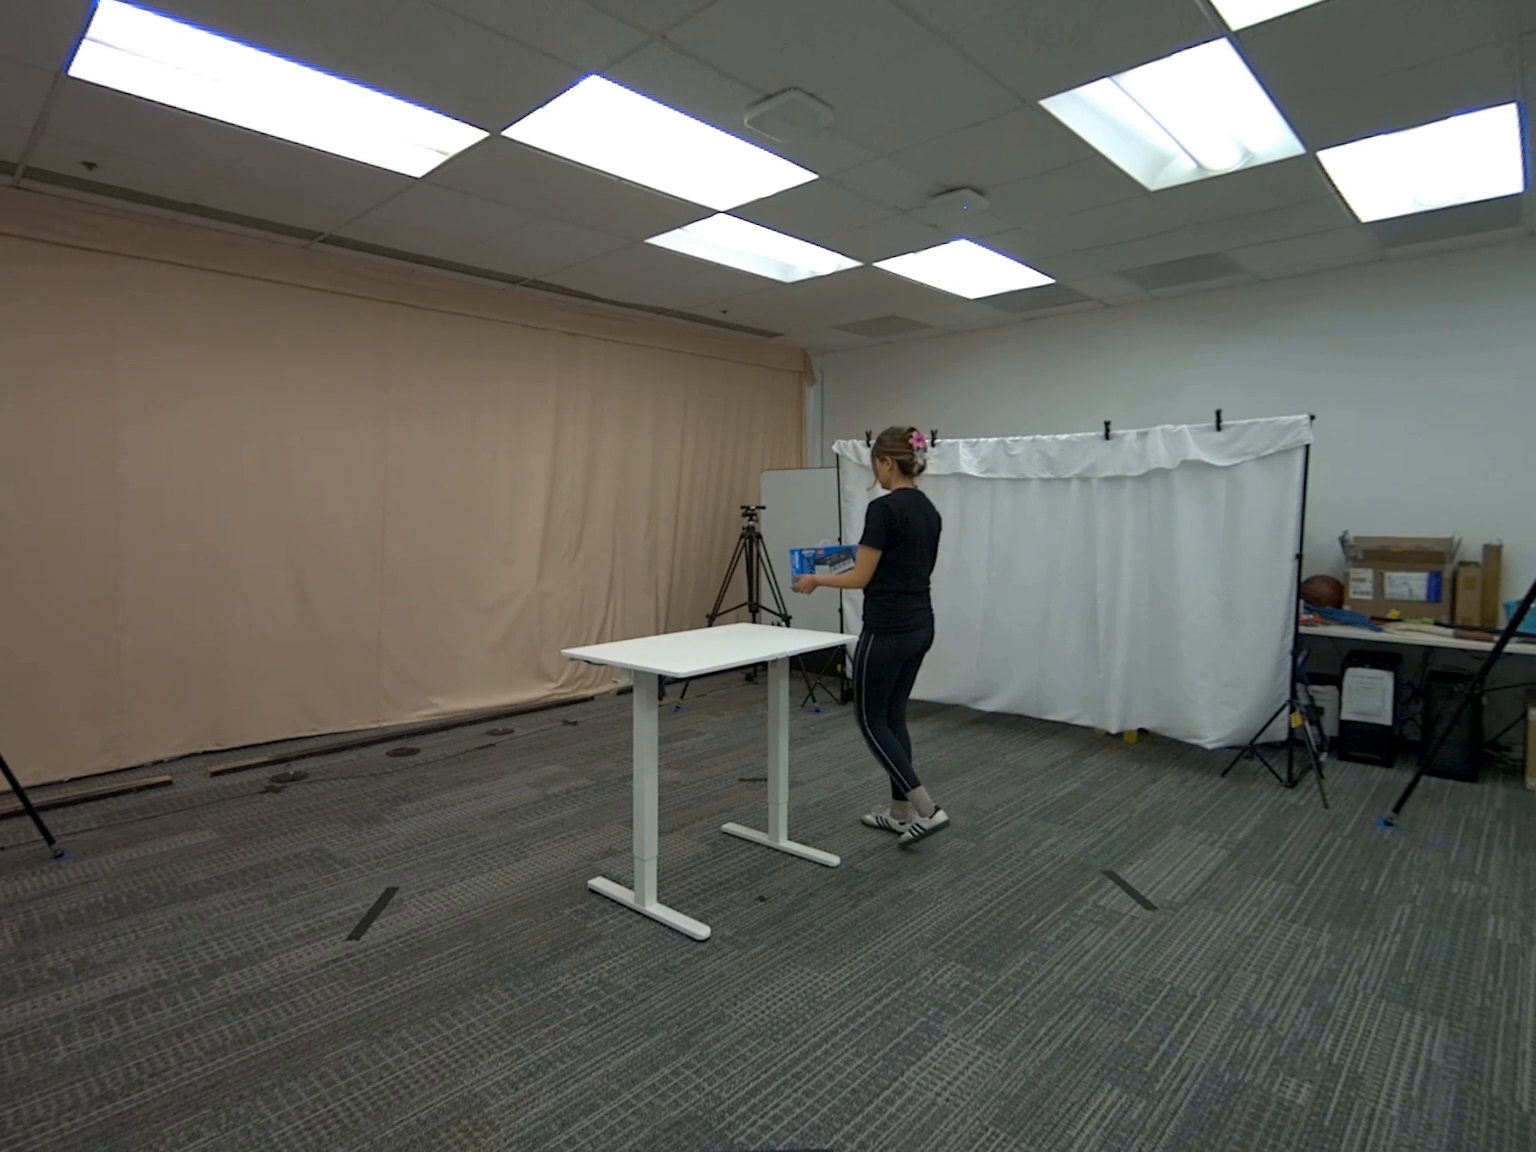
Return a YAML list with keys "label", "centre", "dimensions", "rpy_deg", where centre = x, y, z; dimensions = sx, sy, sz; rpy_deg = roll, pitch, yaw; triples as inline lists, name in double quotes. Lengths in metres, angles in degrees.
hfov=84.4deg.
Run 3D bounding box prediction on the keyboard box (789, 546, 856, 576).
- label: "keyboard box"
  centre: [0.273, -0.041, 3.814]
  dimensions: [0.061, 0.176, 0.424]
  rpy_deg: [-6, 0, 43]
